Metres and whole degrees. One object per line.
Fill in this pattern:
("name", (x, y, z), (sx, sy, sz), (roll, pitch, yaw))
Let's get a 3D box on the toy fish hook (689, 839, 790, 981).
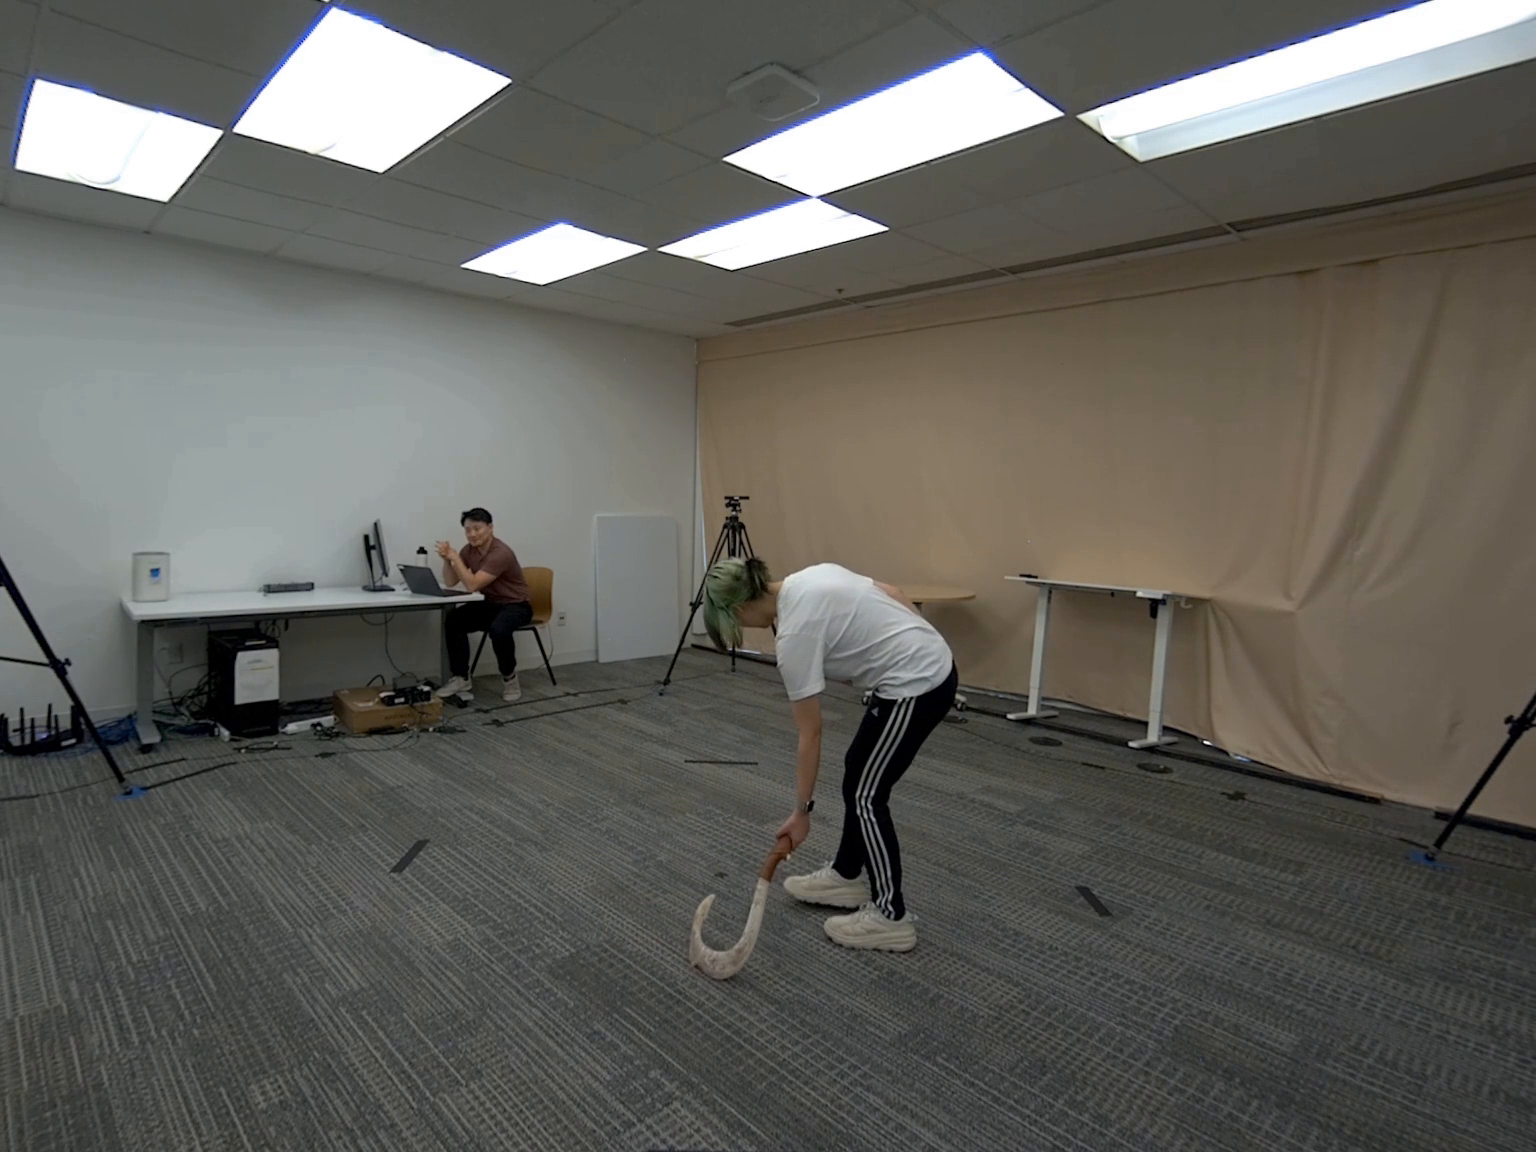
("toy fish hook", (-0.078, 0.952, 2.538), (0.231, 0.509, 0.047), (15, -26, 35))
